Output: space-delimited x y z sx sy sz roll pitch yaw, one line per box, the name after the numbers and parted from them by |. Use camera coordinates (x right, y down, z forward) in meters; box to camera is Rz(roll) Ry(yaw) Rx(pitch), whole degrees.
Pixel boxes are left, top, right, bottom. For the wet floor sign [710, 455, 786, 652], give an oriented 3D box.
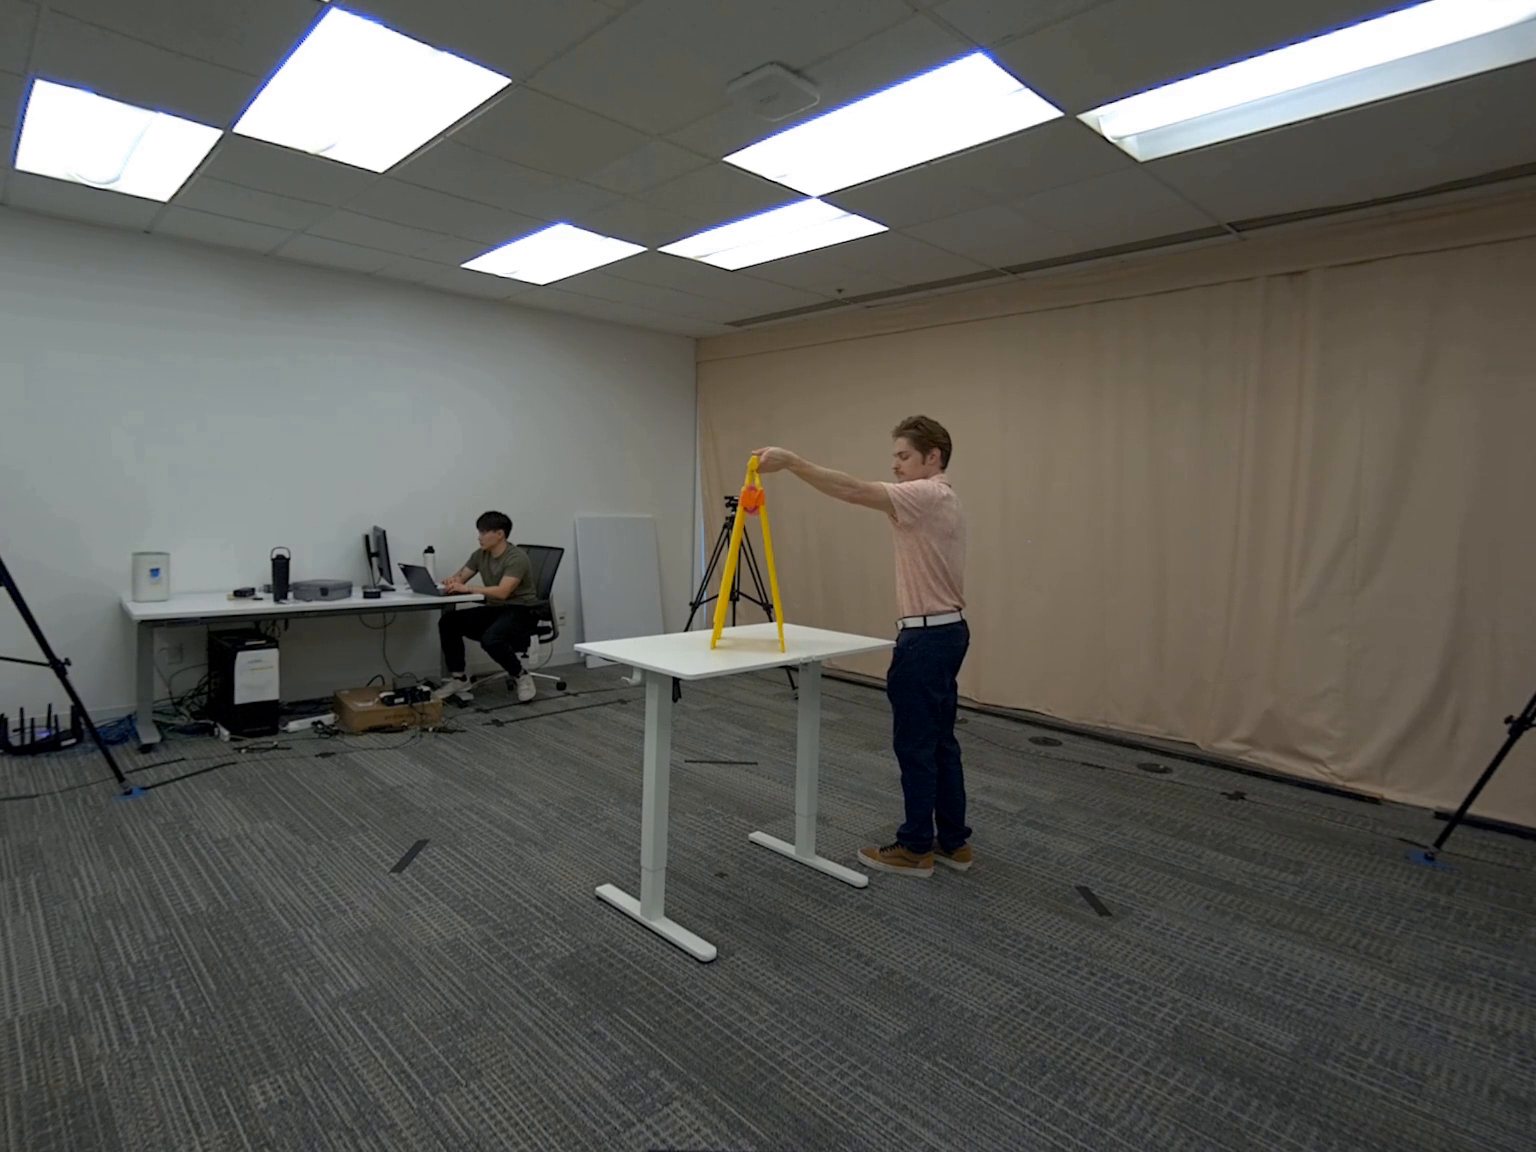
-0.064 -0.080 2.911 0.291 0.644 0.281 1 3 5 | wet floor sign
